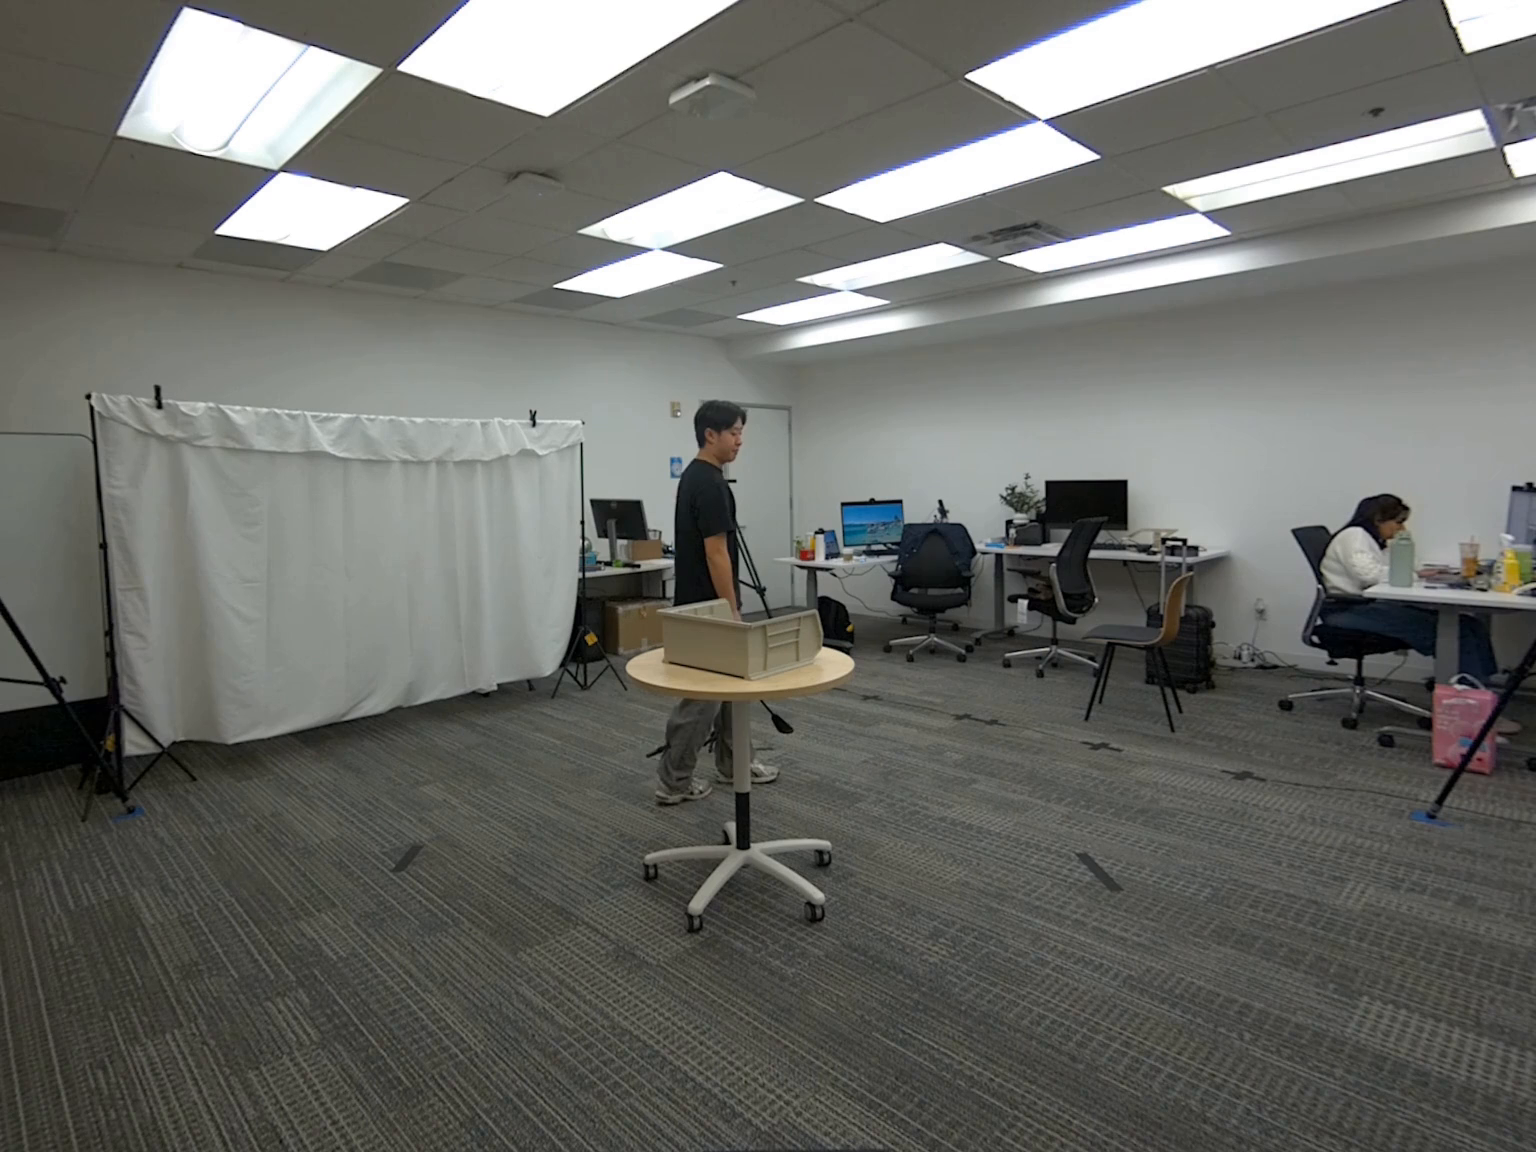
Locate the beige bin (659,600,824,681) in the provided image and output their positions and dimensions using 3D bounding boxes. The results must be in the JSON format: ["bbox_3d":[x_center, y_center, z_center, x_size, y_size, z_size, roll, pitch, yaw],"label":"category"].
[{"bbox_3d":[-0.090,0.203,2.882,0.435,0.188,0.368,6,10,41],"label":"beige bin"}]
